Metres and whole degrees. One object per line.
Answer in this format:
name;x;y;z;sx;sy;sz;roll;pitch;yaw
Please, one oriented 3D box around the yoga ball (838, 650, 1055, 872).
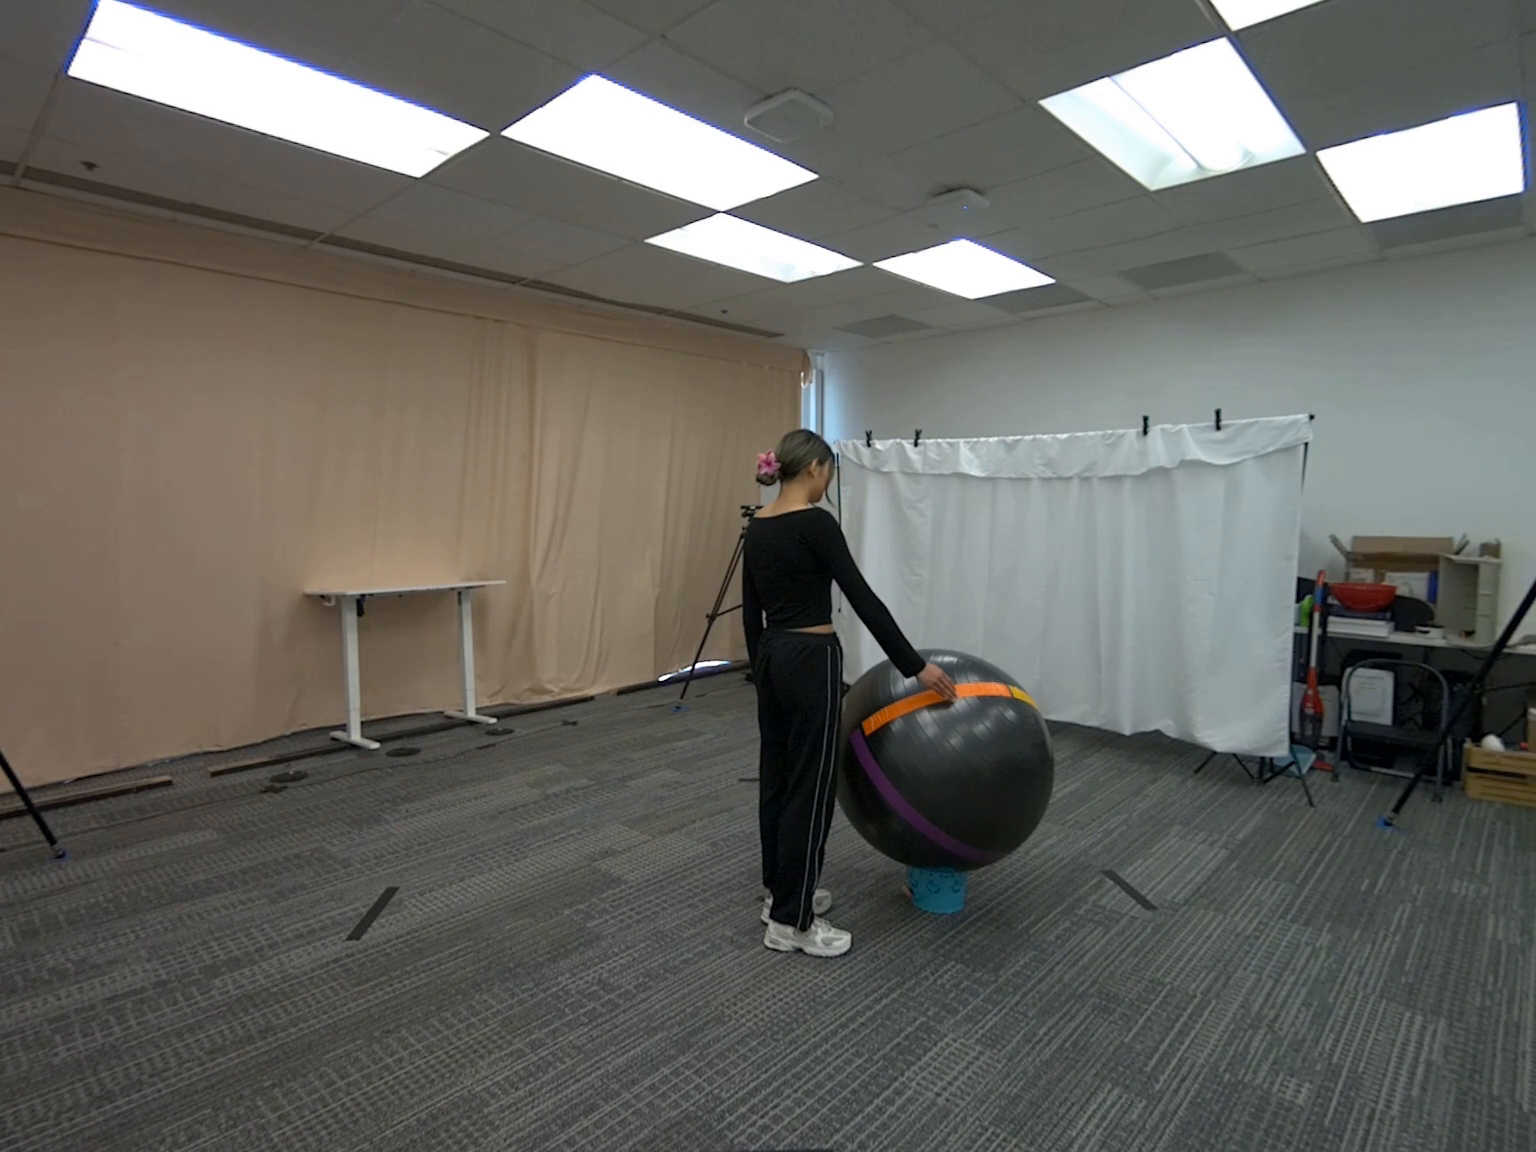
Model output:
yoga ball;0.607;0.638;2.938;0.757;0.756;0.760;0;4;-2
